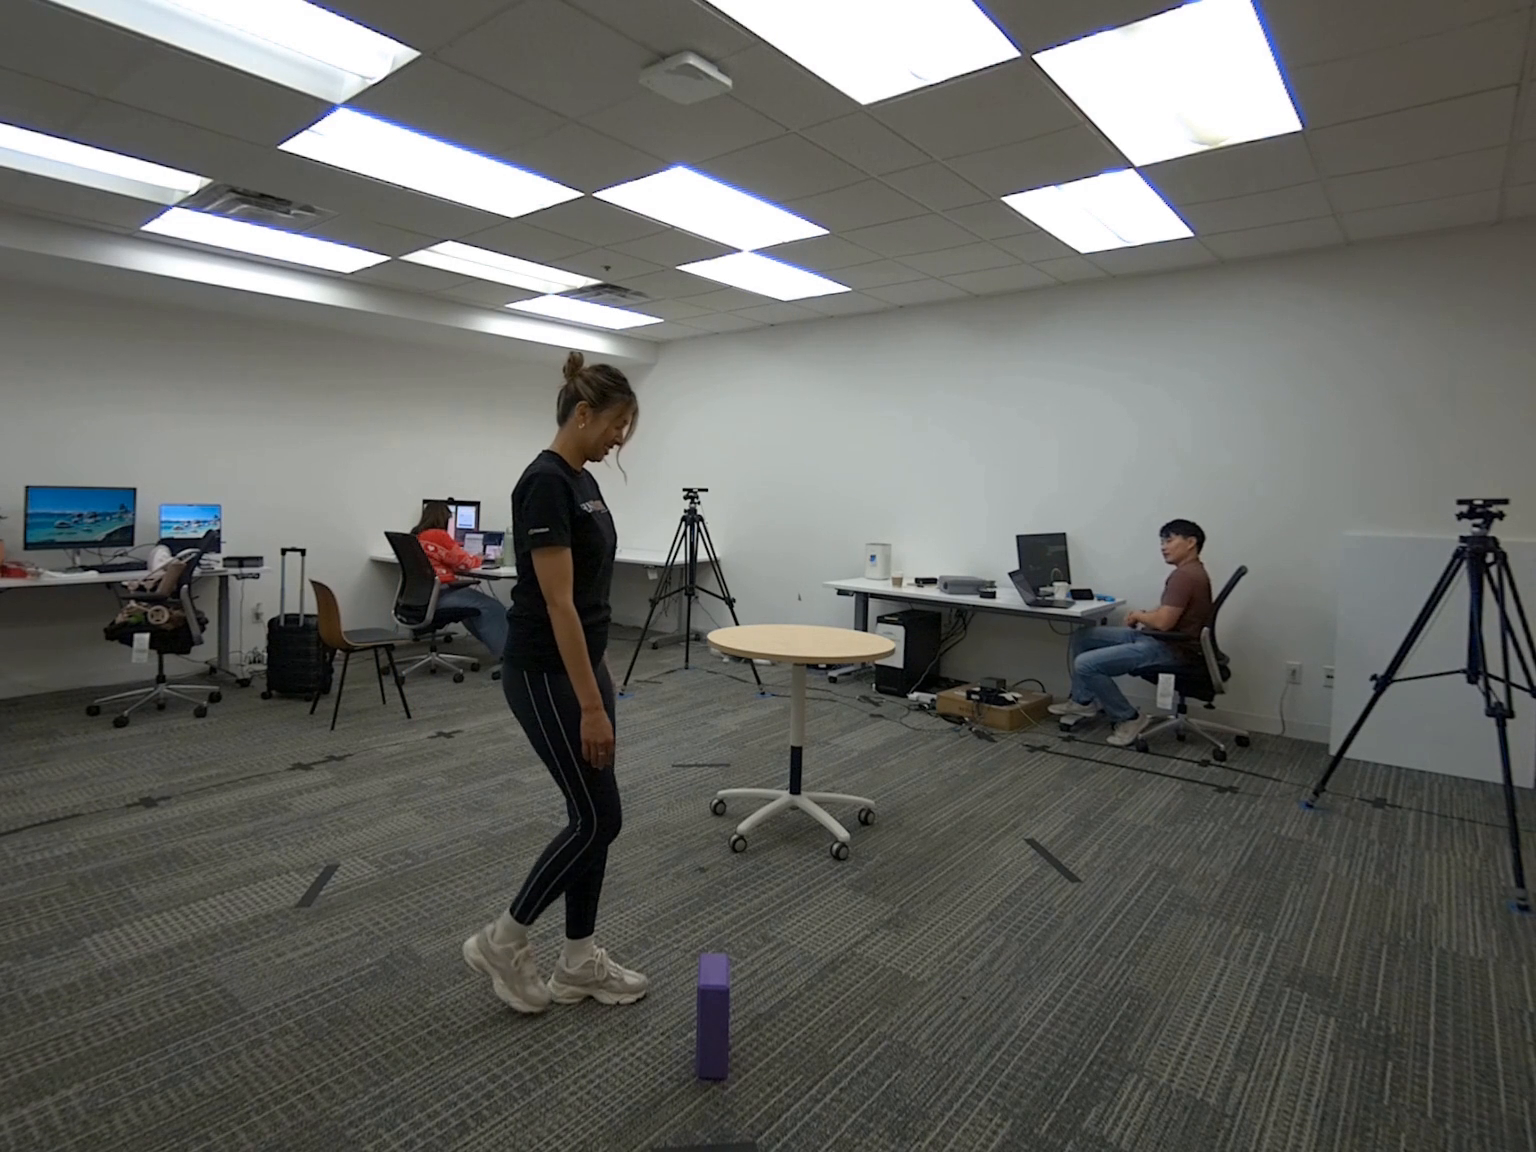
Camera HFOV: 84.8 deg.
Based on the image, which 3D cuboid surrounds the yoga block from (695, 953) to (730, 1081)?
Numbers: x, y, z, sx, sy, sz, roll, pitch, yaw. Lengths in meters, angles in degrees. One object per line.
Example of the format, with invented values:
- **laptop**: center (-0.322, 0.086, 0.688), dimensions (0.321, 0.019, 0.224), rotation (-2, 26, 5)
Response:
- **yoga block**: center (-0.138, 1.065, 2.055), dimensions (0.076, 0.228, 0.150), rotation (1, 8, -1)
